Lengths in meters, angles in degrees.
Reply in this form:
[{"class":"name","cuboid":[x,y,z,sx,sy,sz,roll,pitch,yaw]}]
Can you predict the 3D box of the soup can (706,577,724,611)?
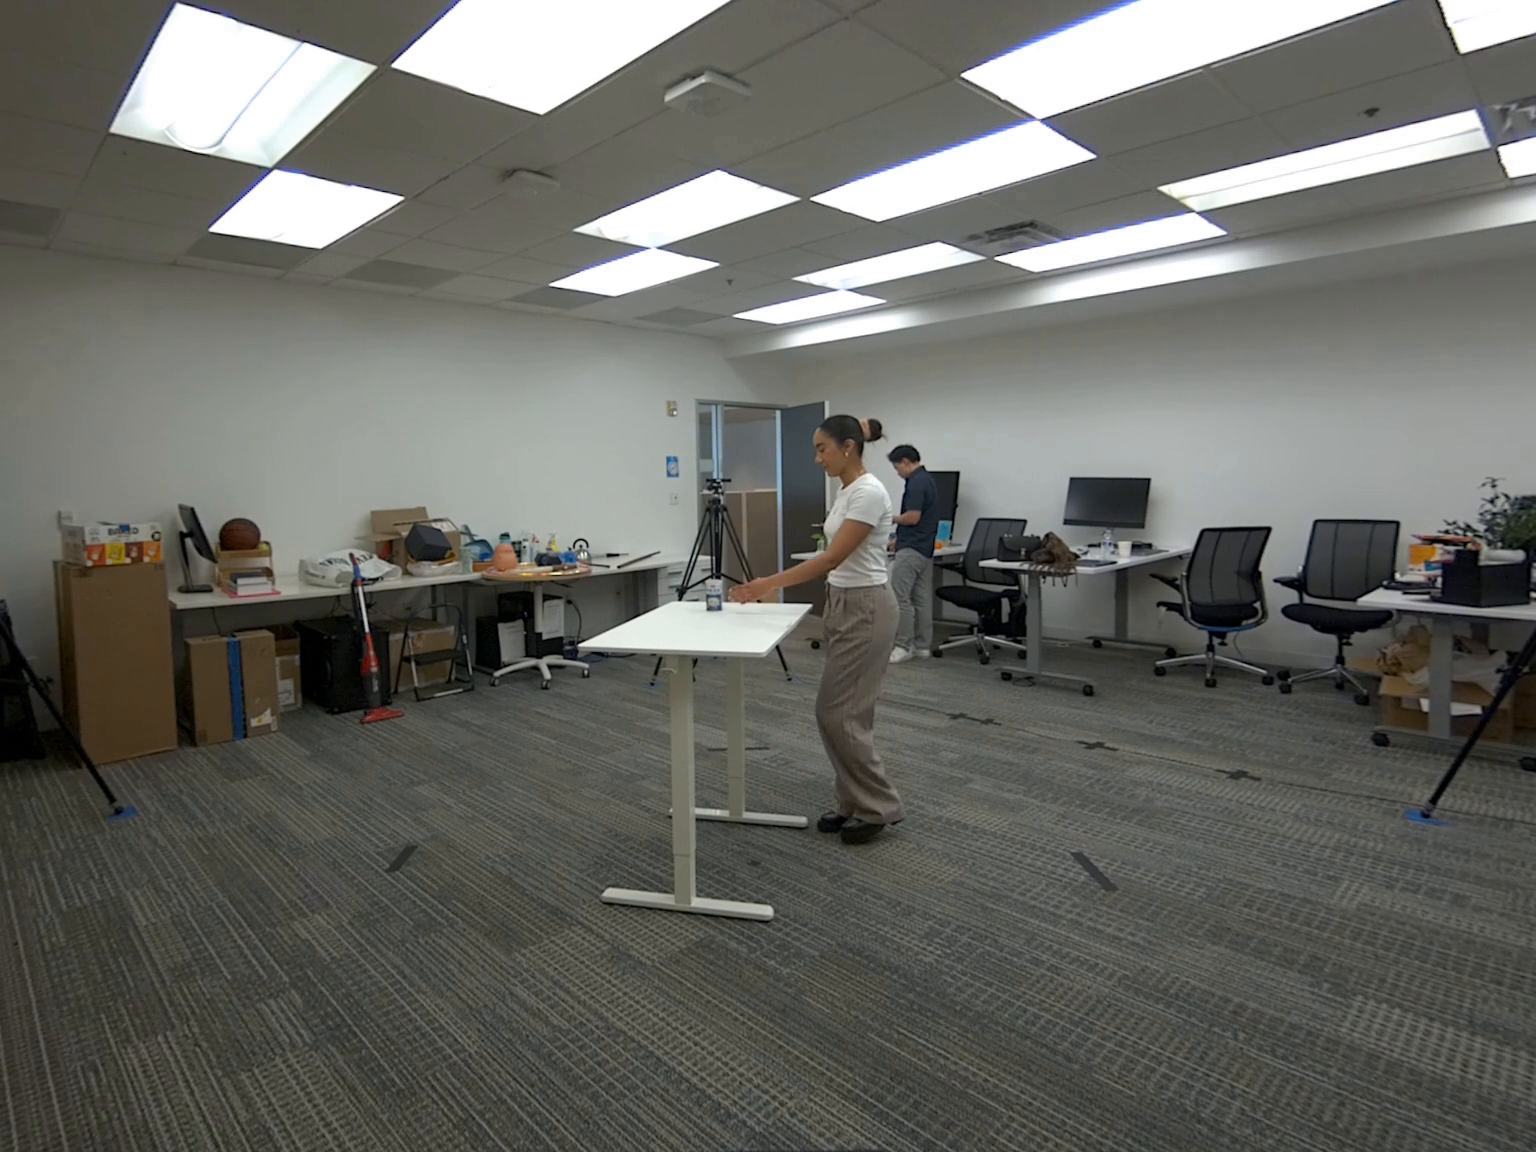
[{"class":"soup can","cuboid":[-0.212,0.080,3.380,0.067,0.121,0.067,-1,3,-2]}]
